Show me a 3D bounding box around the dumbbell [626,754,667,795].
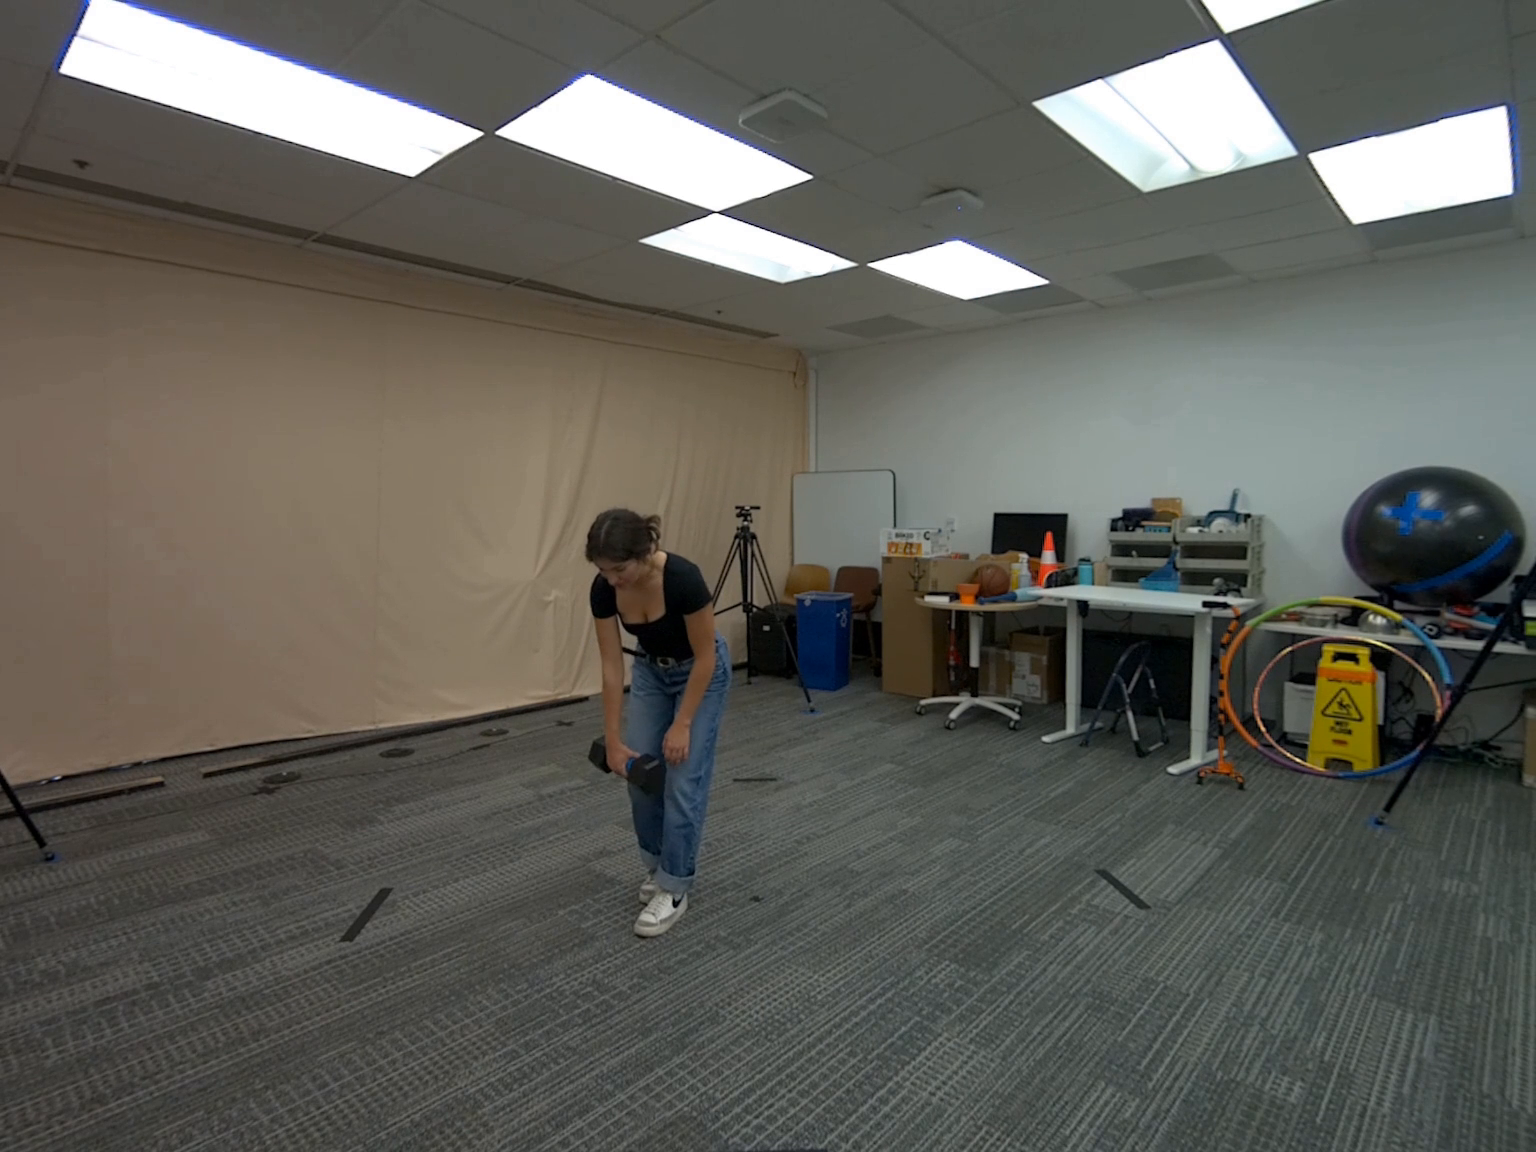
[{"bbox_3d":[-0.465,0.625,2.798,0.304,0.119,0.108,10,52,42],"label":"dumbbell"}]
